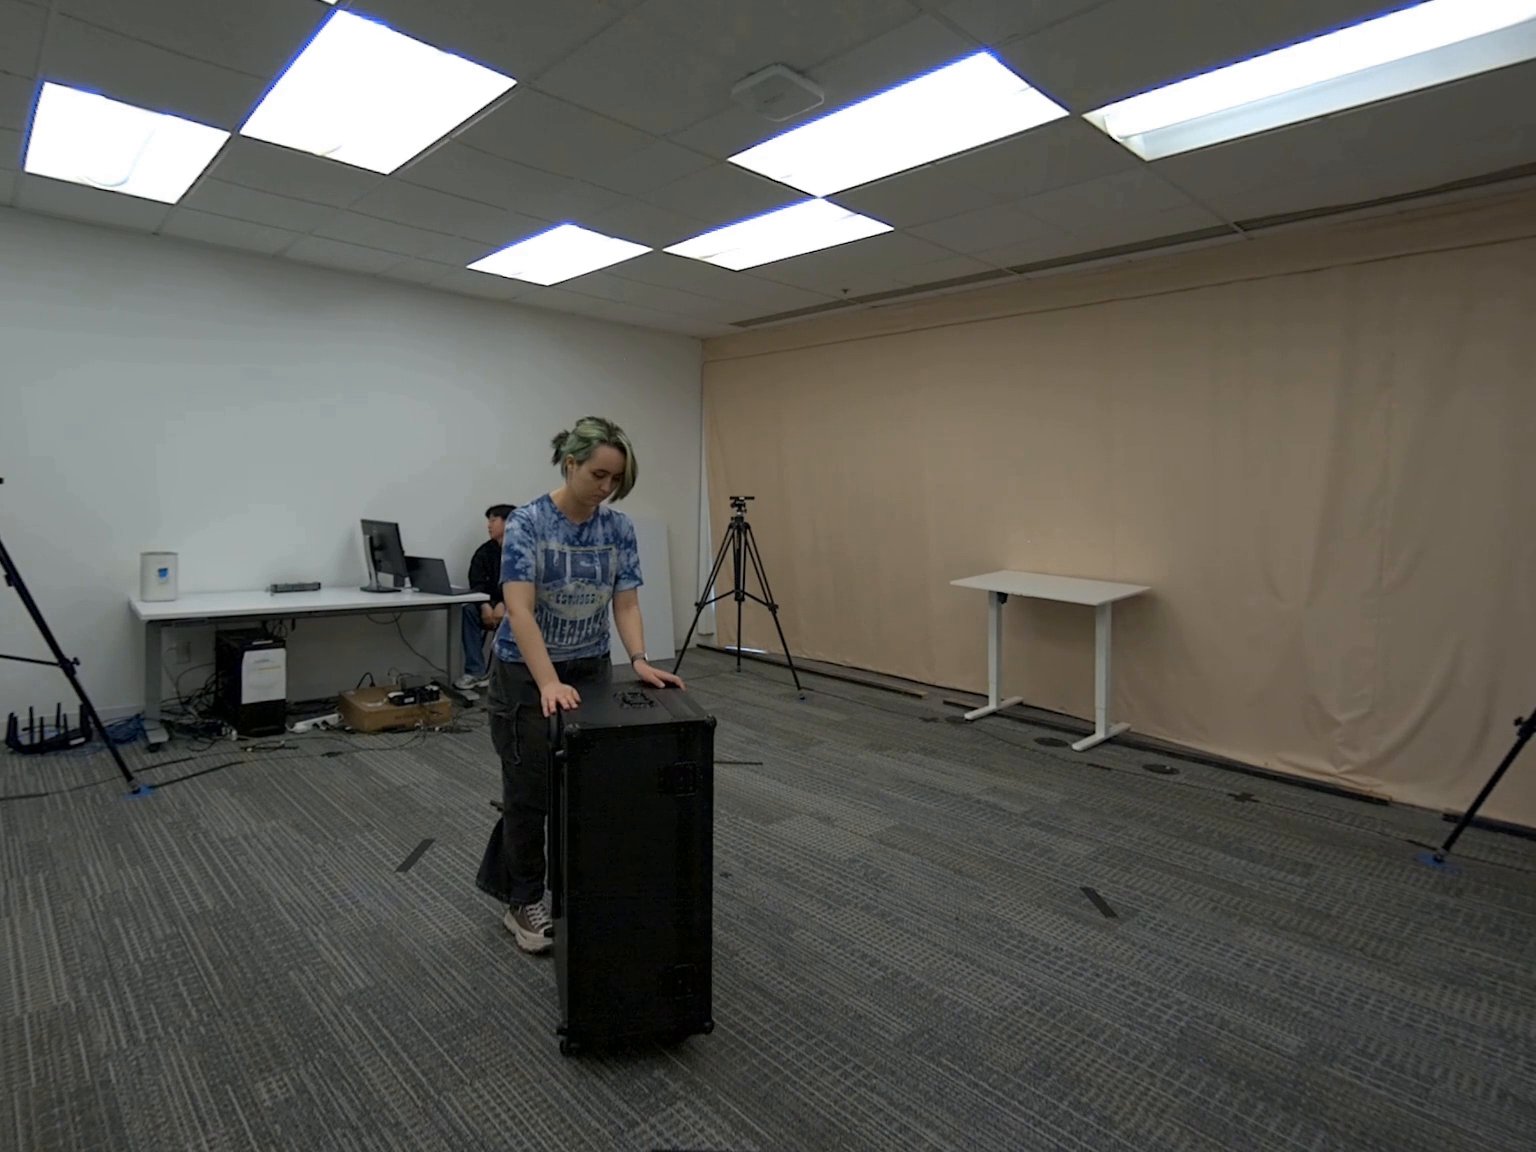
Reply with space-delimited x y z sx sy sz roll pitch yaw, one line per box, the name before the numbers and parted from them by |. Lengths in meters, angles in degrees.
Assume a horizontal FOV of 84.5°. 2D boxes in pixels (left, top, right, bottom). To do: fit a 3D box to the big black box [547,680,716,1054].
big black box | -0.384 0.757 2.218 0.391 0.859 0.529 -1 3 -17
